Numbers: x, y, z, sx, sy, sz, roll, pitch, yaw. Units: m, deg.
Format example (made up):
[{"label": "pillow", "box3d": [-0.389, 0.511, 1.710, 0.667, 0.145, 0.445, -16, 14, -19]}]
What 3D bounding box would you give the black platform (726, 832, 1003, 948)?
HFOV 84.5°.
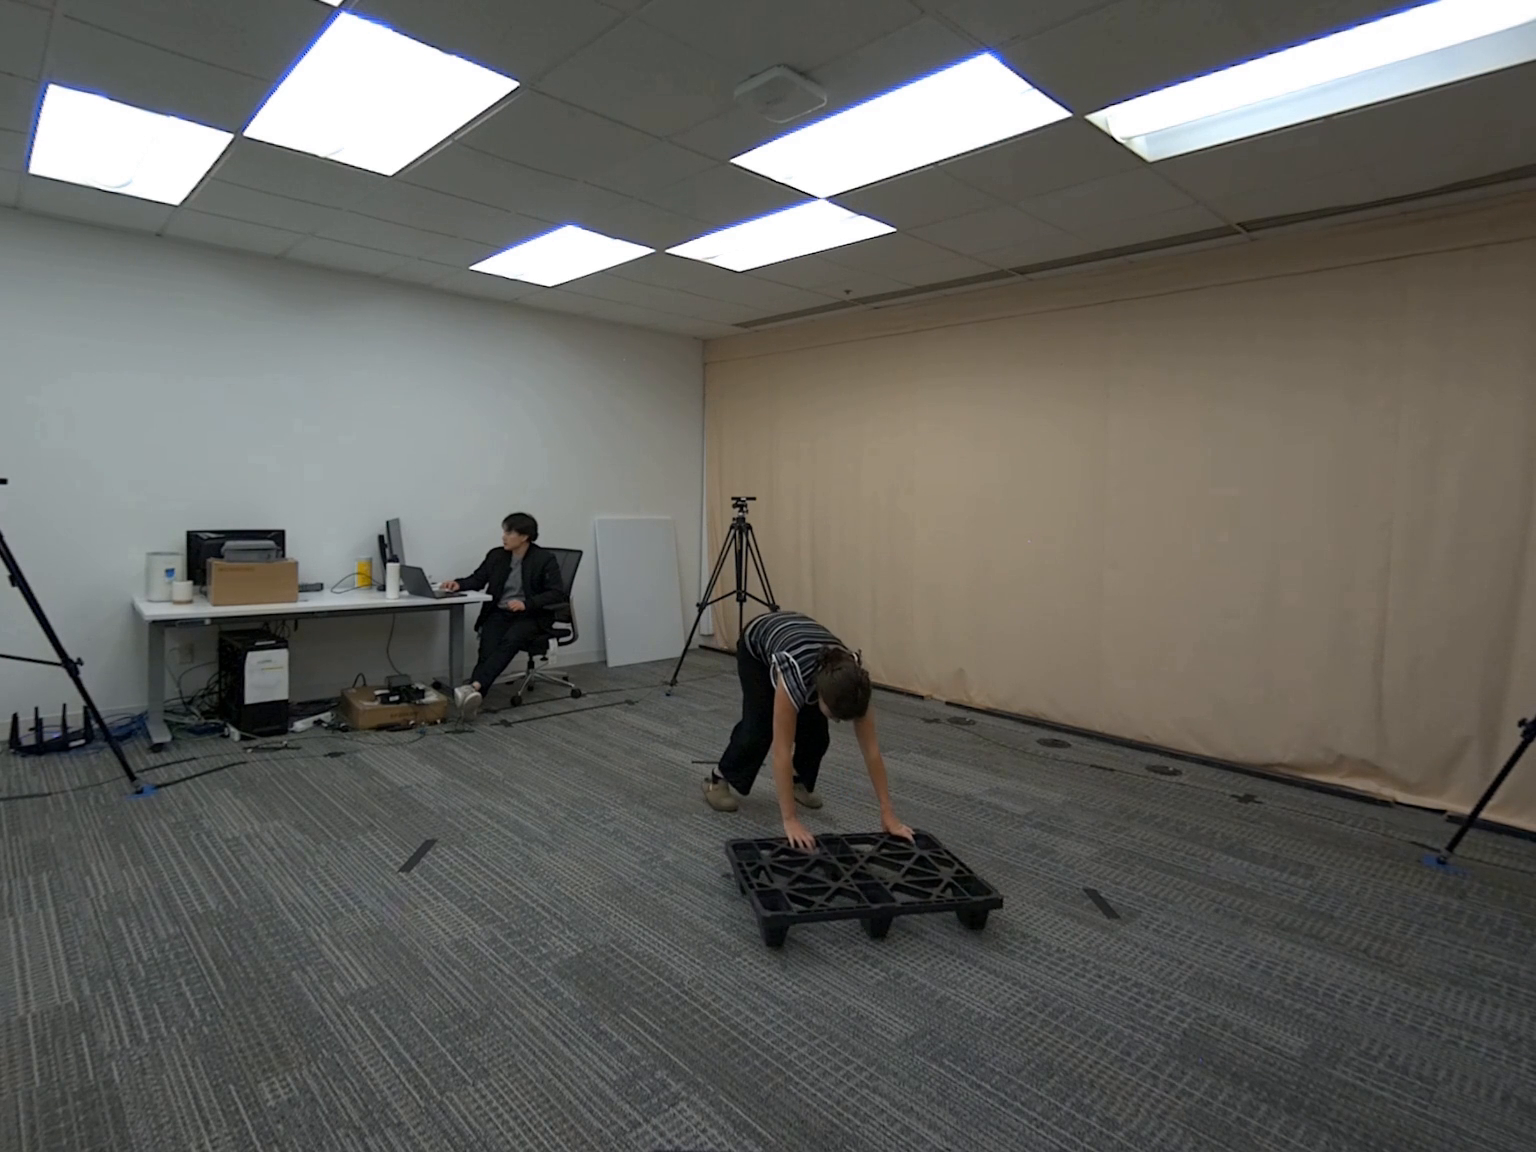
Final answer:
[{"label": "black platform", "box3d": [0.284, 1.065, 2.890, 0.798, 0.143, 0.613, 0, 5, -12]}]
